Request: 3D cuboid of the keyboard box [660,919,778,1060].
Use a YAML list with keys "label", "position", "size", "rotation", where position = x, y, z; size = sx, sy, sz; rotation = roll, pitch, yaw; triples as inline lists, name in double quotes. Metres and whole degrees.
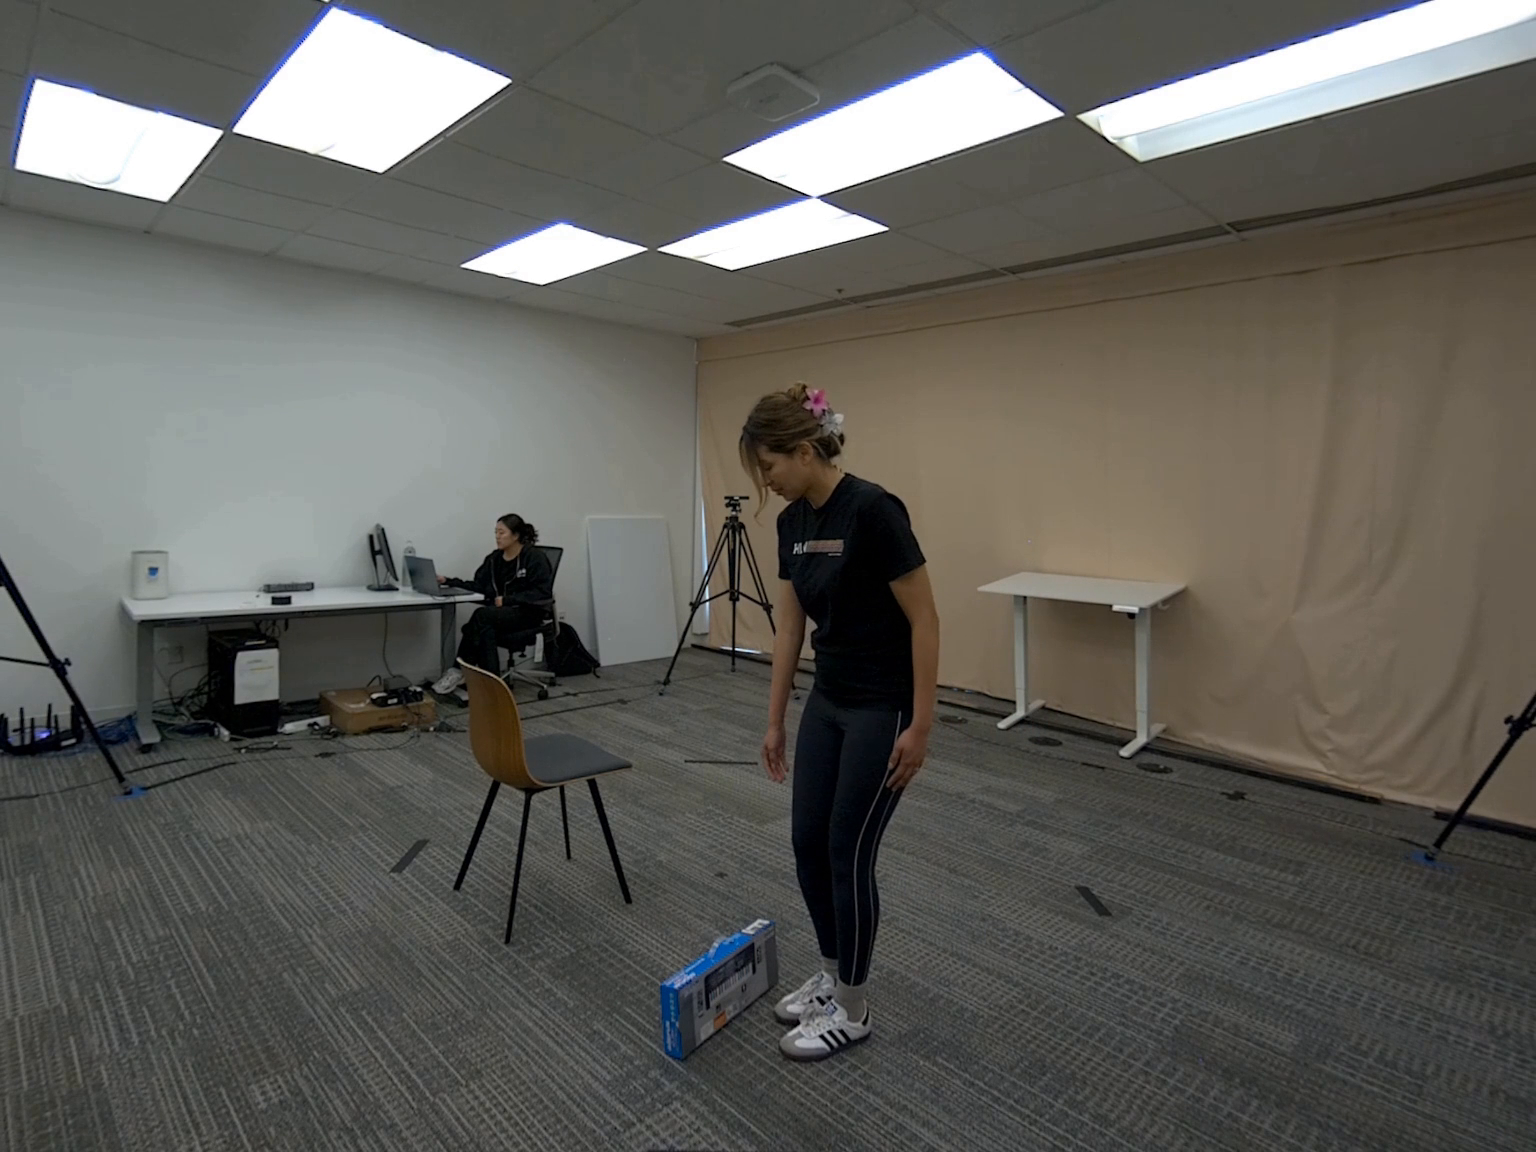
- label: "keyboard box"
  position: [-0.125, 1.100, 2.258]
  size: [0.060, 0.176, 0.428]
  rotation: [-3, 1, 35]
